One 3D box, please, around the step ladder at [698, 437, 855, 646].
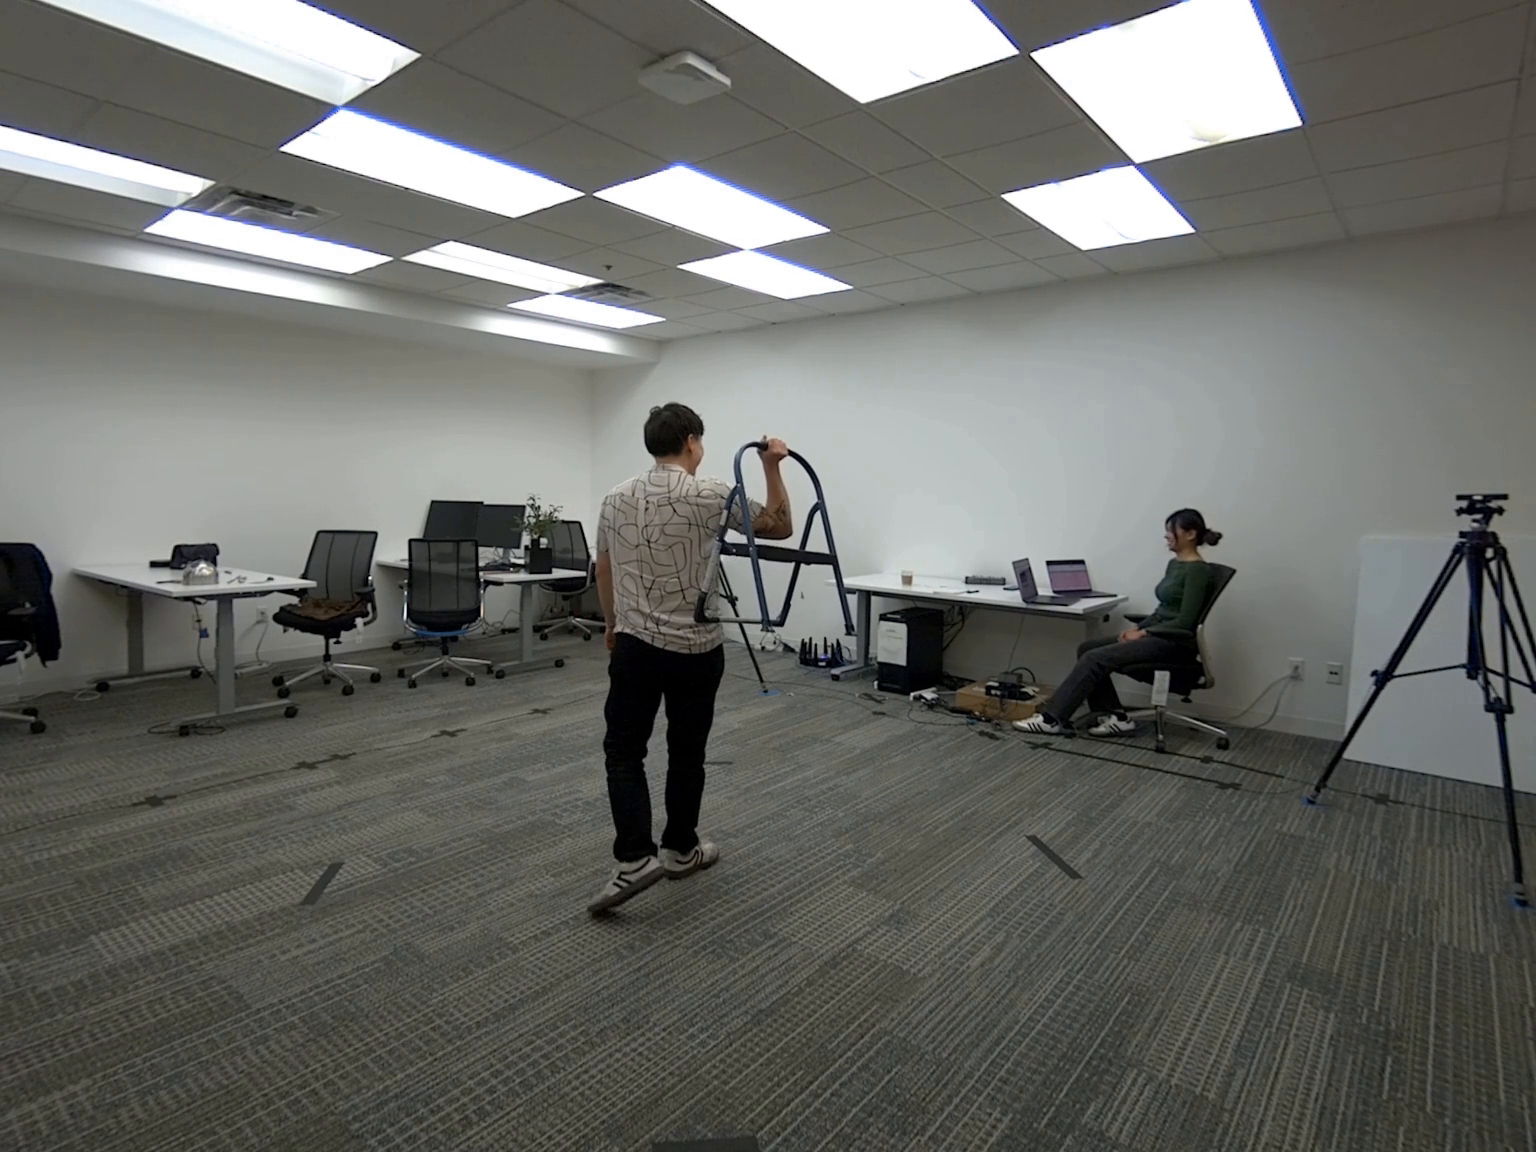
[{"bbox_3d":[0.045,-0.125,2.763,0.361,0.608,0.415,2,-4,45],"label":"step ladder"}]
